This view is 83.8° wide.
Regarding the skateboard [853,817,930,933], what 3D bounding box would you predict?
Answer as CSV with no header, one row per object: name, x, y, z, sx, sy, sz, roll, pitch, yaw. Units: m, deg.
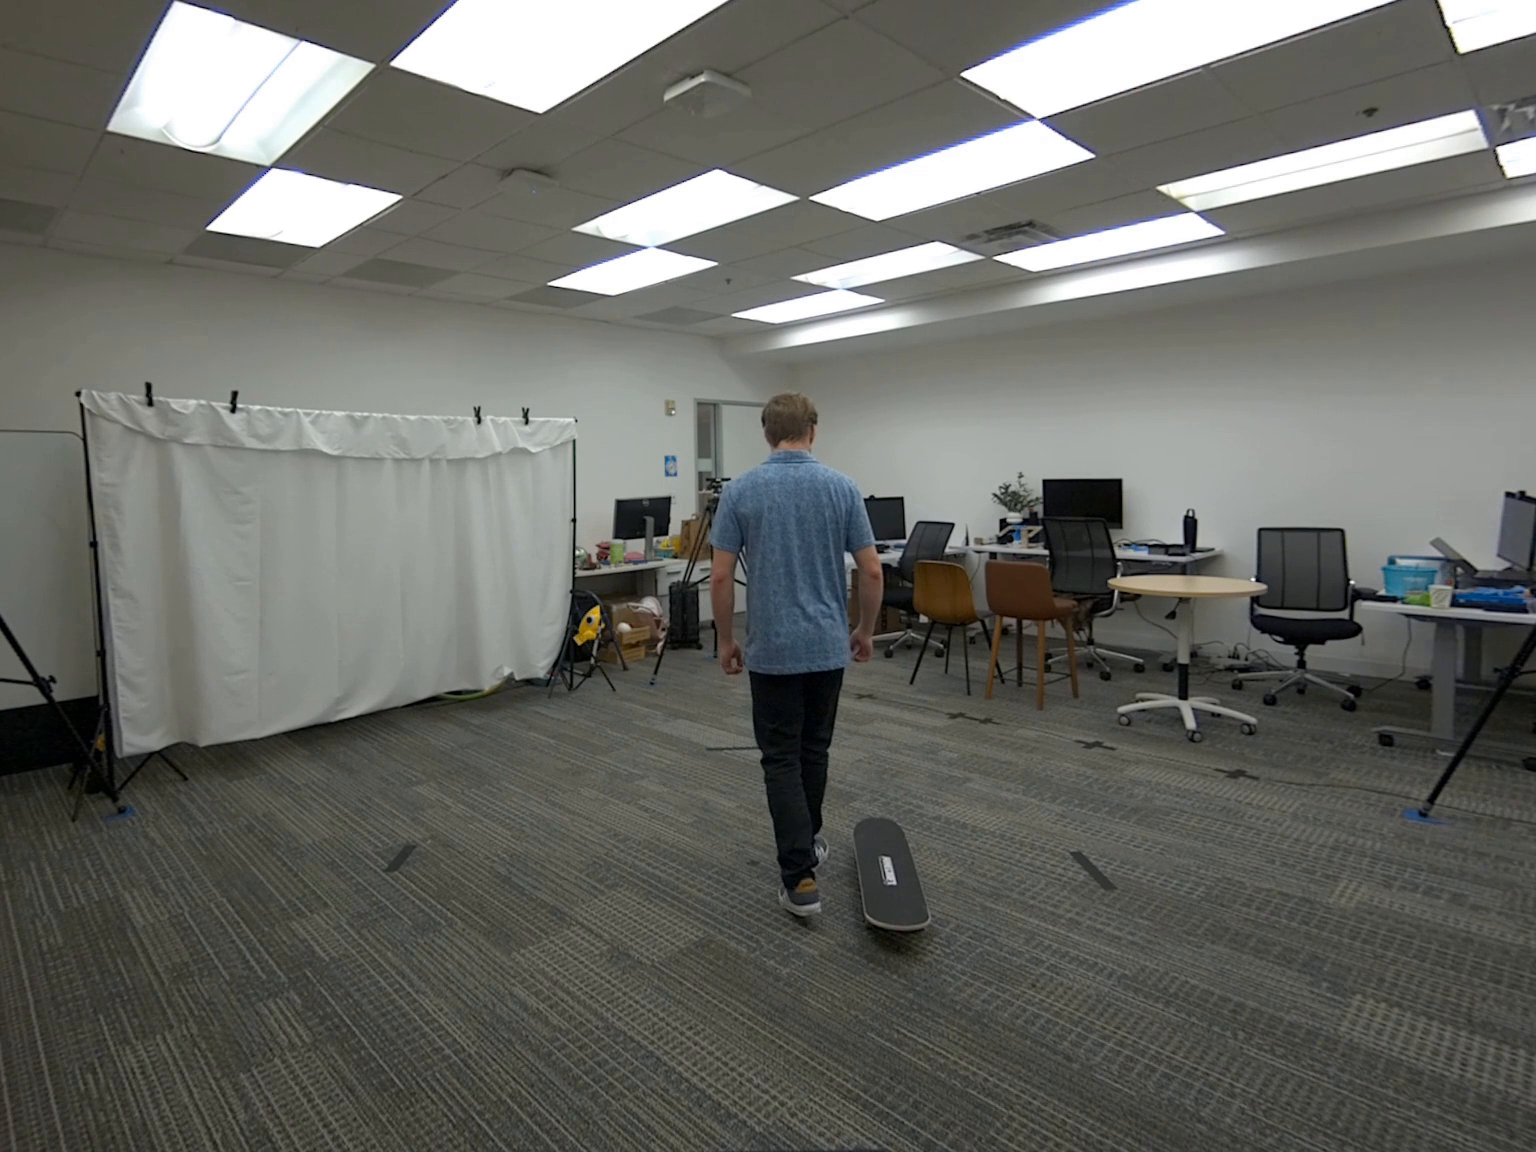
skateboard,0.394,1.000,2.838,0.194,0.110,0.787,0,7,1
